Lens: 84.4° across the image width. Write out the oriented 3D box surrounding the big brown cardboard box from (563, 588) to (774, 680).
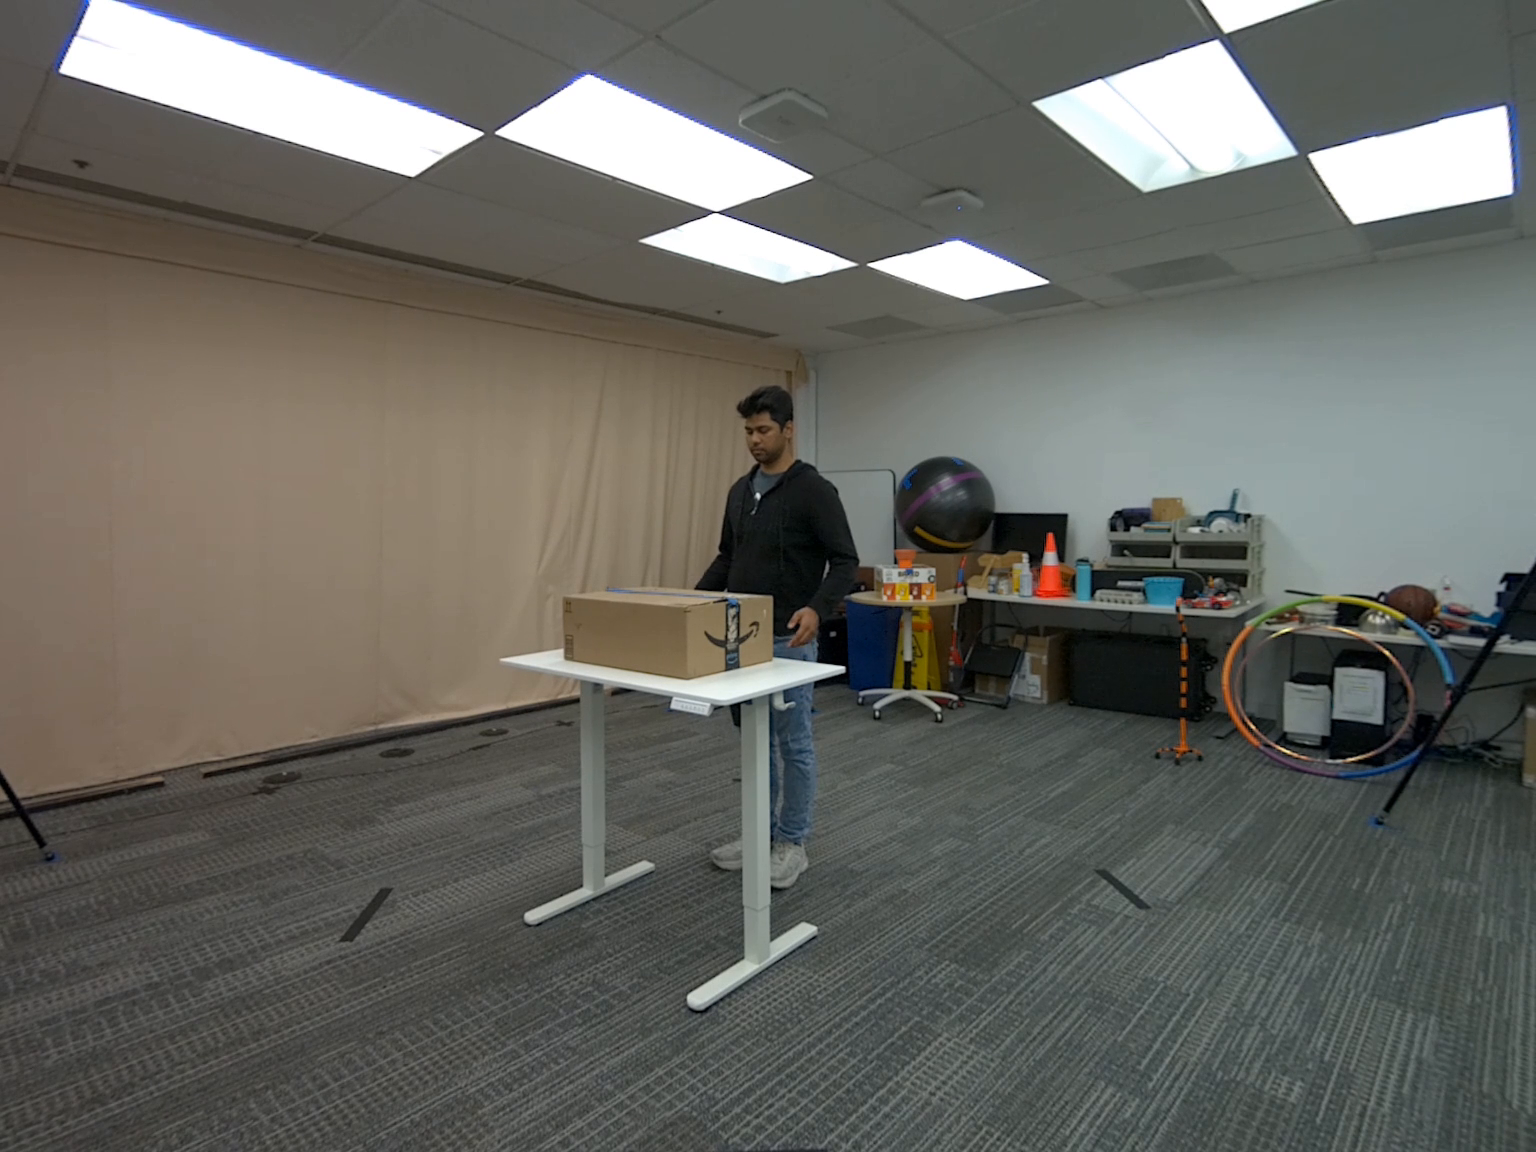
[{"bbox_3d":[-0.328,0.170,2.788,0.608,0.233,0.405,2,5,39],"label":"big brown cardboard box"}]
